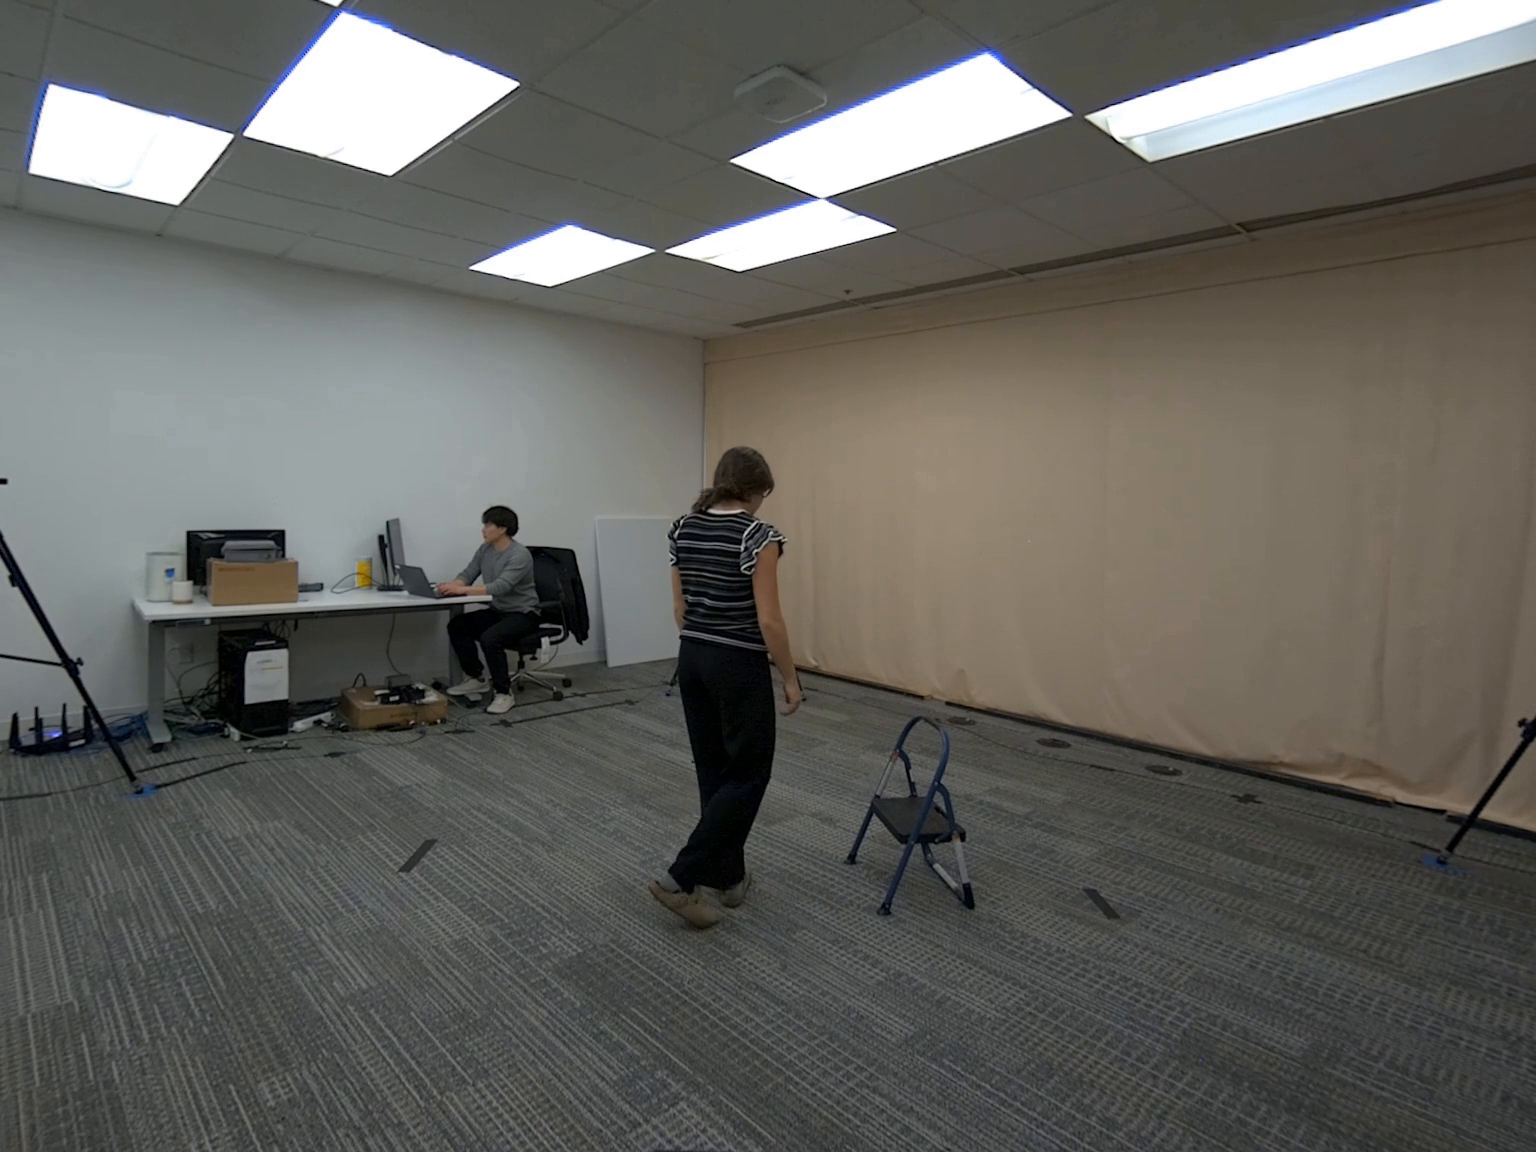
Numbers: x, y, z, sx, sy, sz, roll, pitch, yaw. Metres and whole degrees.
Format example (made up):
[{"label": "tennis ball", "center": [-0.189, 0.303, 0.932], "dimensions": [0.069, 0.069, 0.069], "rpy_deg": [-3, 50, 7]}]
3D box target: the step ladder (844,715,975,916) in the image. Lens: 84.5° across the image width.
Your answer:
[{"label": "step ladder", "center": [0.507, 0.827, 3.053], "dimensions": [0.346, 0.604, 0.435], "rpy_deg": [1, 4, -10]}]
